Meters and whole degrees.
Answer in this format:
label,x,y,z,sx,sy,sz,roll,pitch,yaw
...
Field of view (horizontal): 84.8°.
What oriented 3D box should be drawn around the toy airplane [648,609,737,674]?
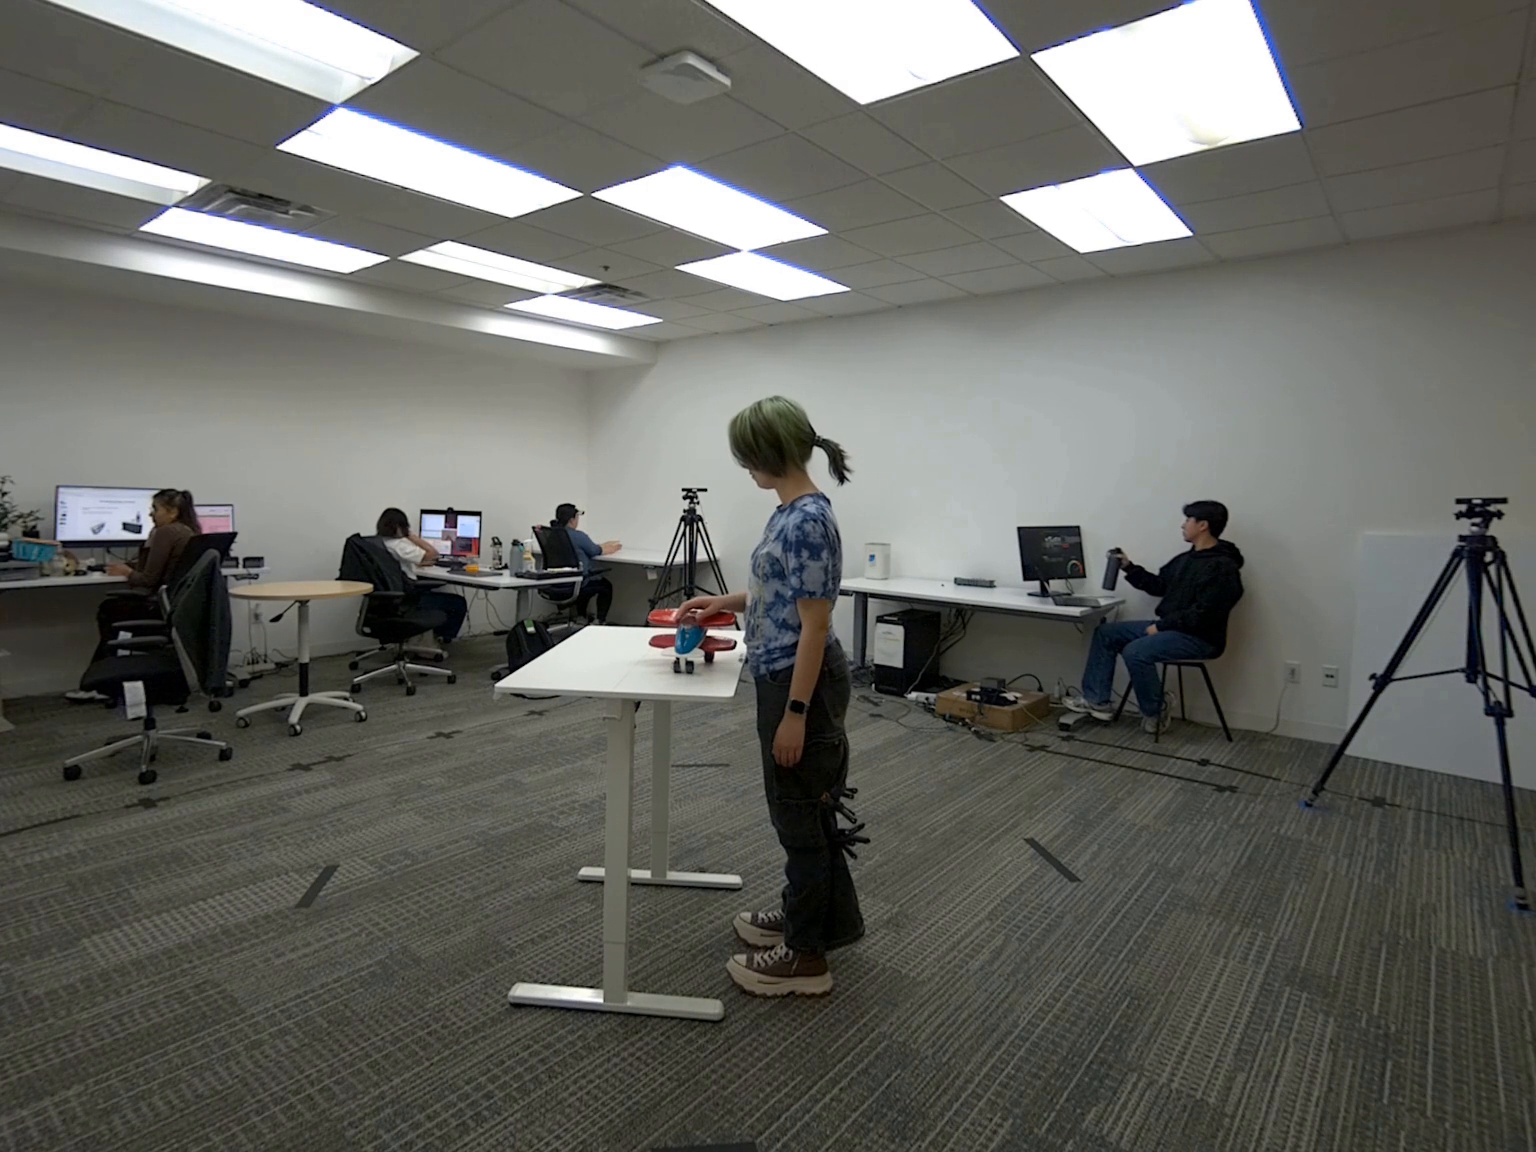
label,x,y,z,sx,sy,sz,roll,pitch,yaw
toy airplane,-0.208,0.180,2.423,0.246,0.156,0.266,2,4,-22
